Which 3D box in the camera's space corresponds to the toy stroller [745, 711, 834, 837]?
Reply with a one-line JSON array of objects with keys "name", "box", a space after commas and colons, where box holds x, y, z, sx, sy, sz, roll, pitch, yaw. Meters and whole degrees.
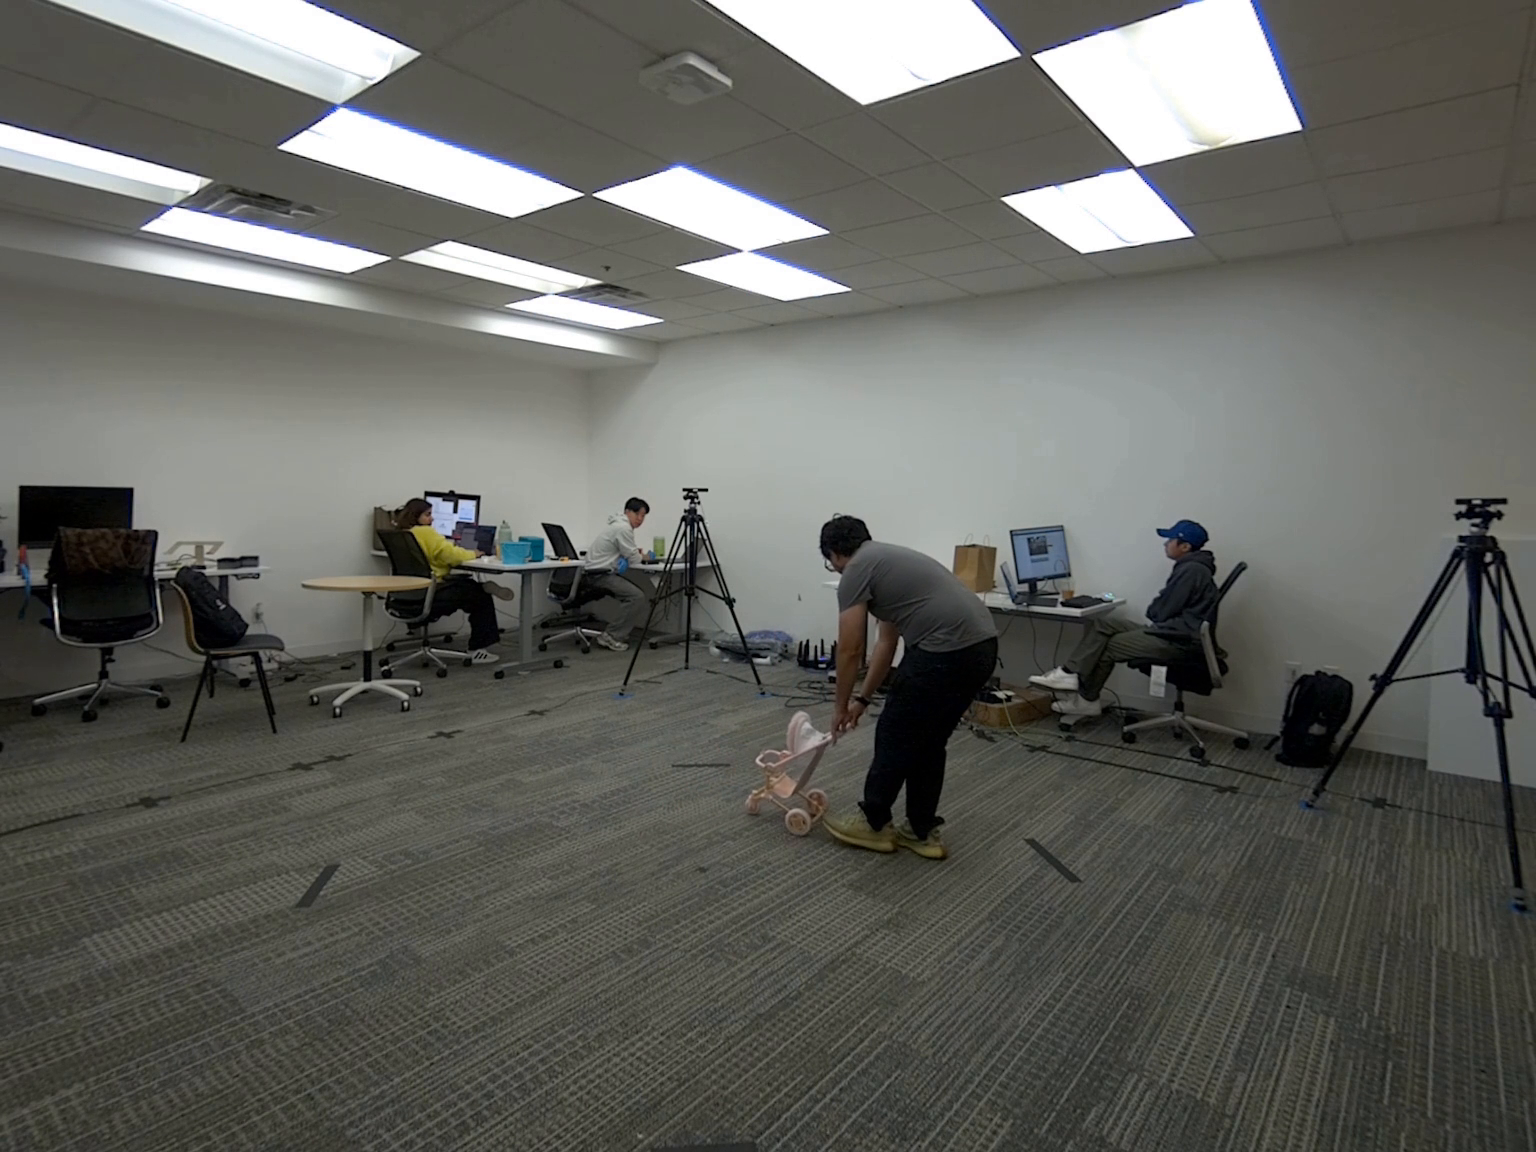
[{"name": "toy stroller", "box": [0.103, 0.807, 3.569, 0.352, 0.531, 0.274, 20, 11, 26]}]
